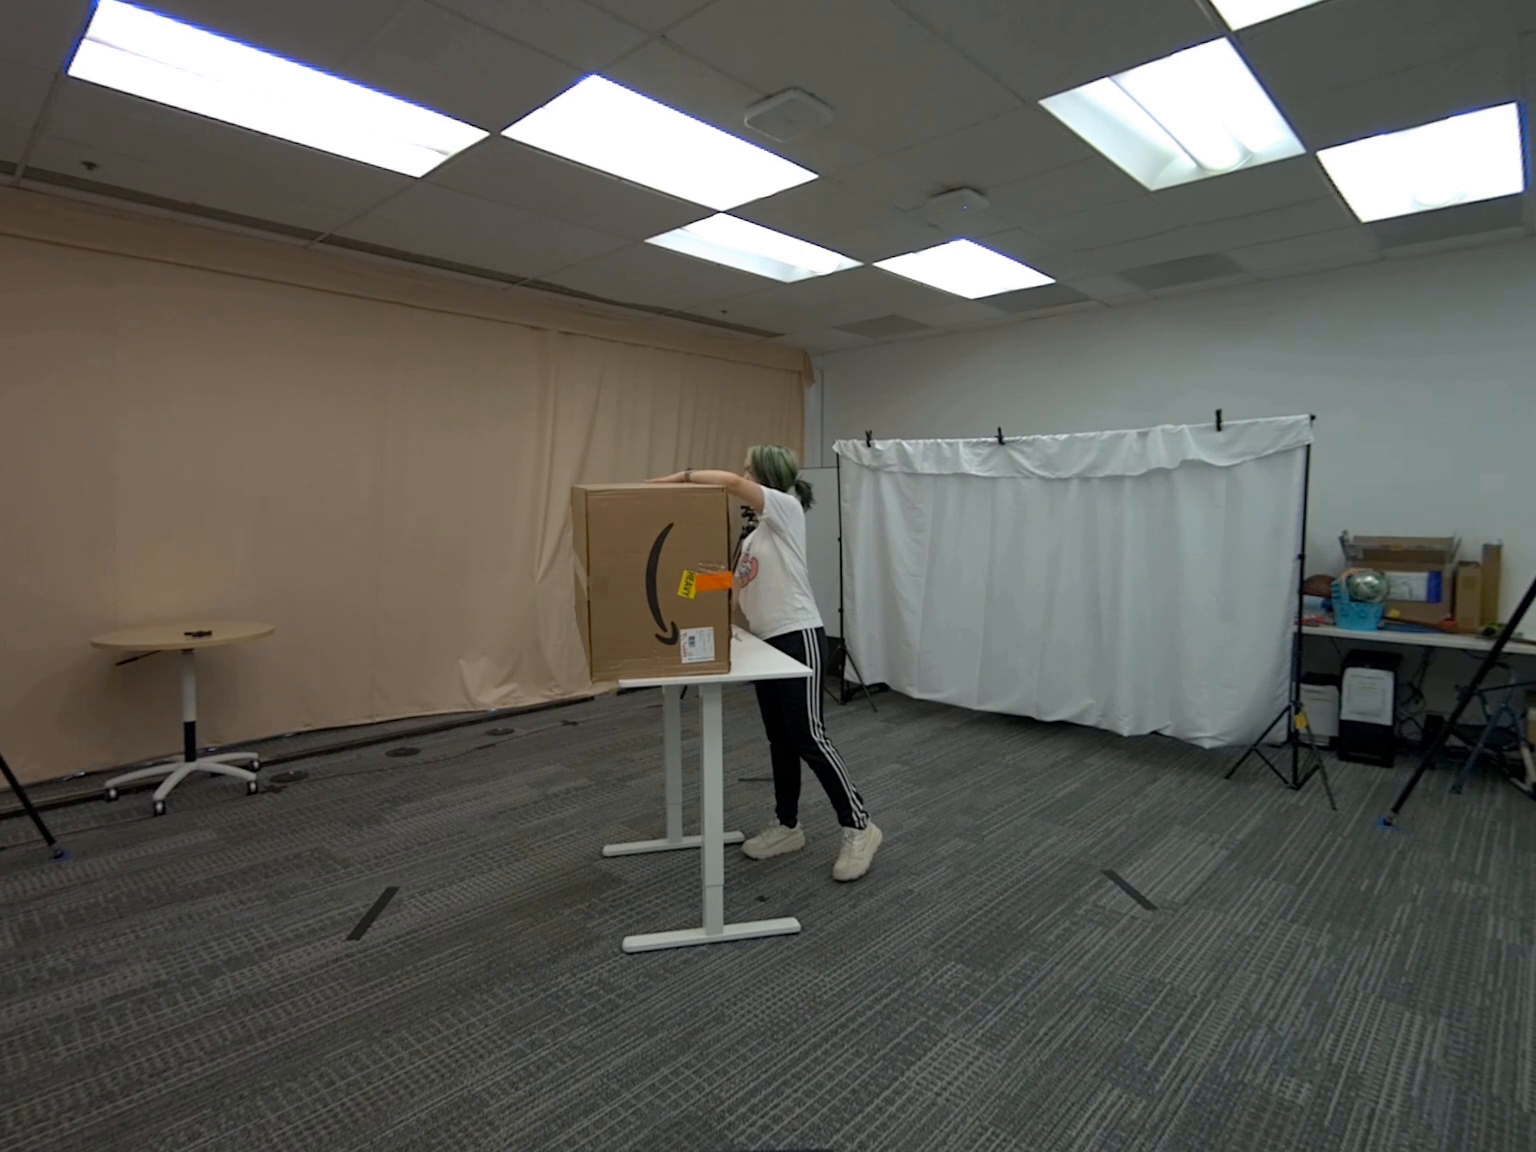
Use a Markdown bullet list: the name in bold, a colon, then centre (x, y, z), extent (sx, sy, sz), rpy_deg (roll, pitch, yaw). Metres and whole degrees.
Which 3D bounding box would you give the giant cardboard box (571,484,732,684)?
- **giant cardboard box**: centre (-0.445, -0.038, 2.987), extent (0.440, 0.582, 1.046), rpy_deg (-2, 7, -15)
